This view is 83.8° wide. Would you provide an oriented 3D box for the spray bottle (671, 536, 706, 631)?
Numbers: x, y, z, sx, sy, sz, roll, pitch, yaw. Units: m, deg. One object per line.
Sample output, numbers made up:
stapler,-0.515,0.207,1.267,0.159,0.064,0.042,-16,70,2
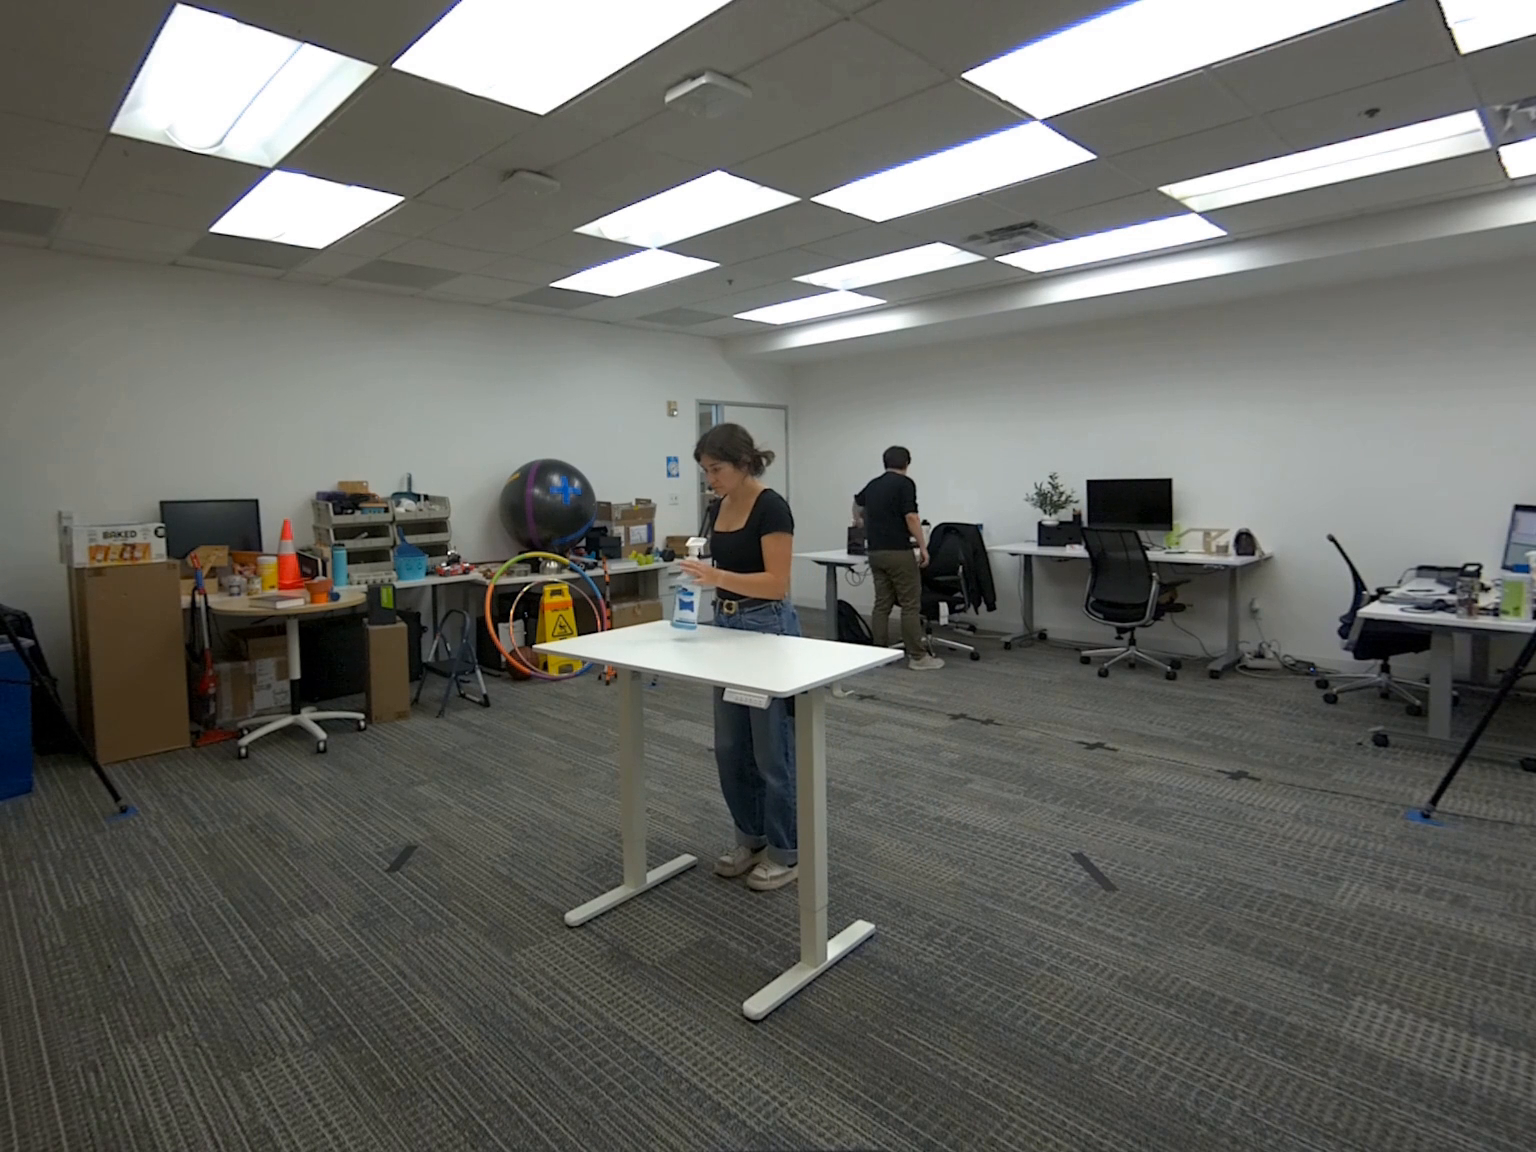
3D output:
spray bottle,-0.252,0.025,2.753,0.087,0.297,0.089,8,0,-30
